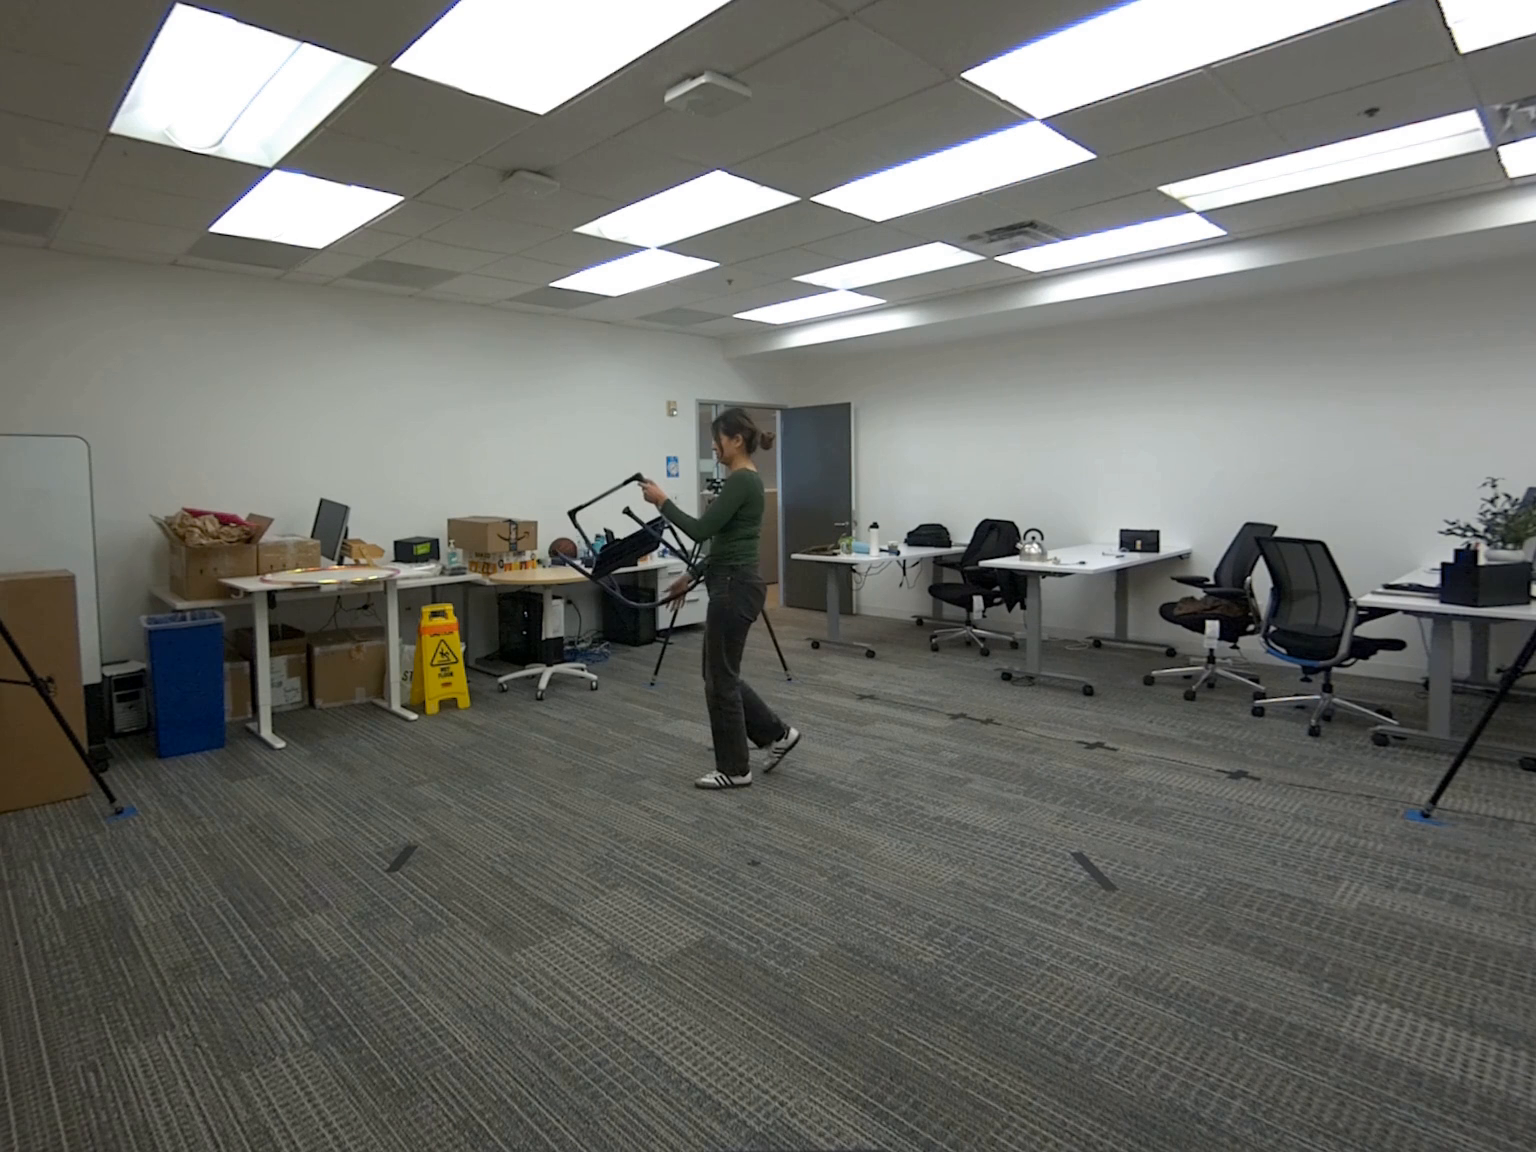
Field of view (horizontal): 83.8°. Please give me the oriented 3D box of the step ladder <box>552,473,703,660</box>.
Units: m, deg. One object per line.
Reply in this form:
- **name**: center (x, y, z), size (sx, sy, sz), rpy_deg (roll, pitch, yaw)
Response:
- **step ladder**: center (-0.585, -0.063, 3.811), size (0.434, 0.588, 0.357), rpy_deg (-26, 28, 19)
